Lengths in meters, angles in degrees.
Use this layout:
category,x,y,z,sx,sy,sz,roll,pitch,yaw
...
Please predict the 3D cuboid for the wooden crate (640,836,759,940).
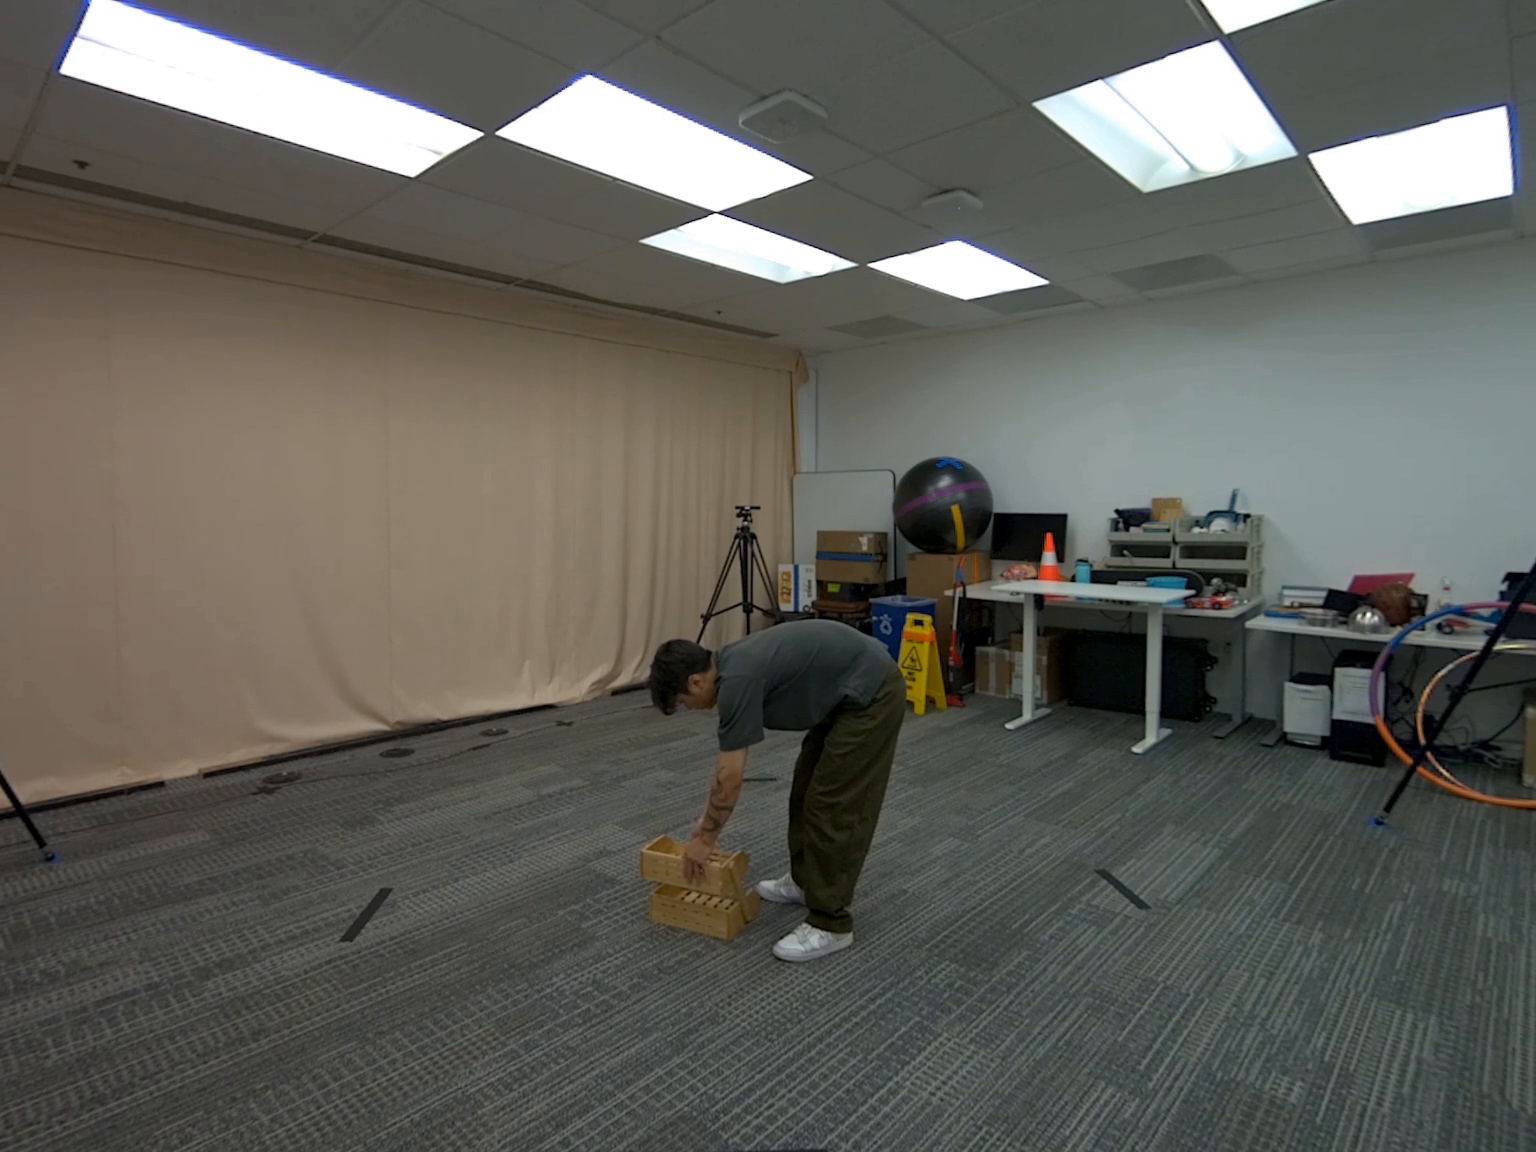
category,x,y,z,sx,sy,sz,roll,pitch,yaw
wooden crate,-0.221,1.024,2.847,0.332,0.273,0.295,2,4,24
